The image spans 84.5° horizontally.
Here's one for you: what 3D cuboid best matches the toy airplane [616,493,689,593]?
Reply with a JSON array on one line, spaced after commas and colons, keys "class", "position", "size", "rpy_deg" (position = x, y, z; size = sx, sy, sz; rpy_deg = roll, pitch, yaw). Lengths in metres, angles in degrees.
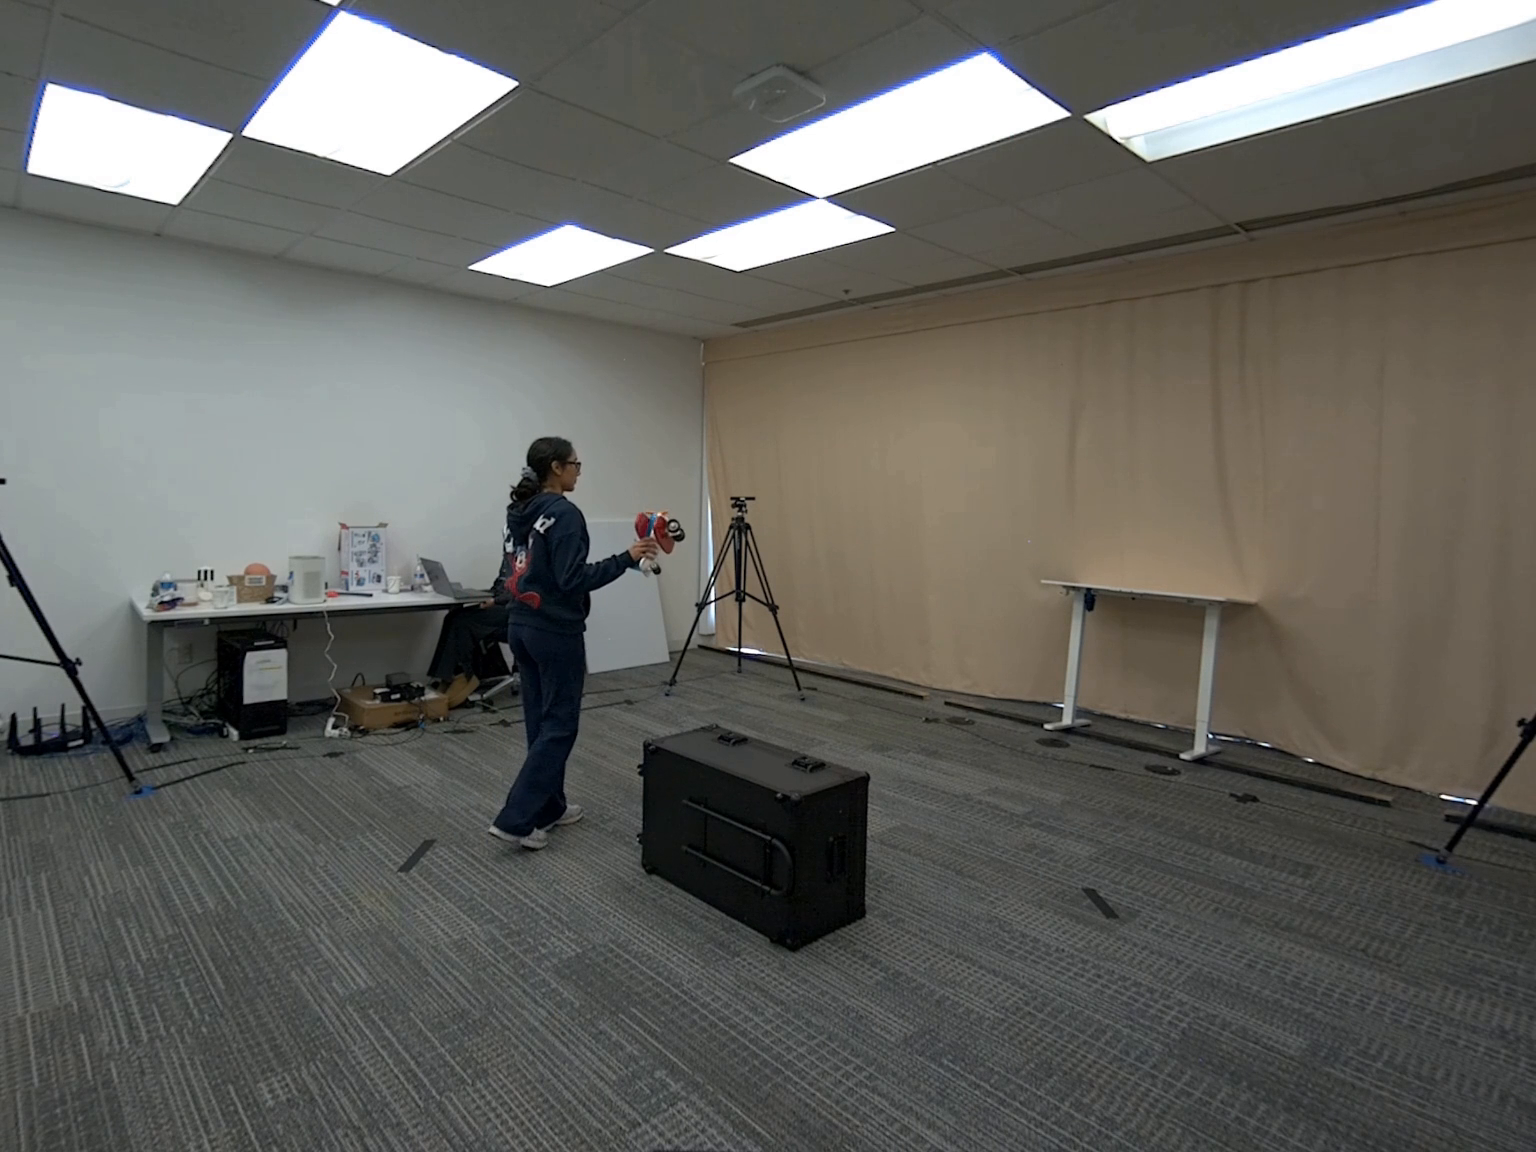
[{"class": "toy airplane", "position": [-0.451, -0.133, 3.312], "size": [0.159, 0.246, 0.260], "rpy_deg": [23, 46, 17]}]
